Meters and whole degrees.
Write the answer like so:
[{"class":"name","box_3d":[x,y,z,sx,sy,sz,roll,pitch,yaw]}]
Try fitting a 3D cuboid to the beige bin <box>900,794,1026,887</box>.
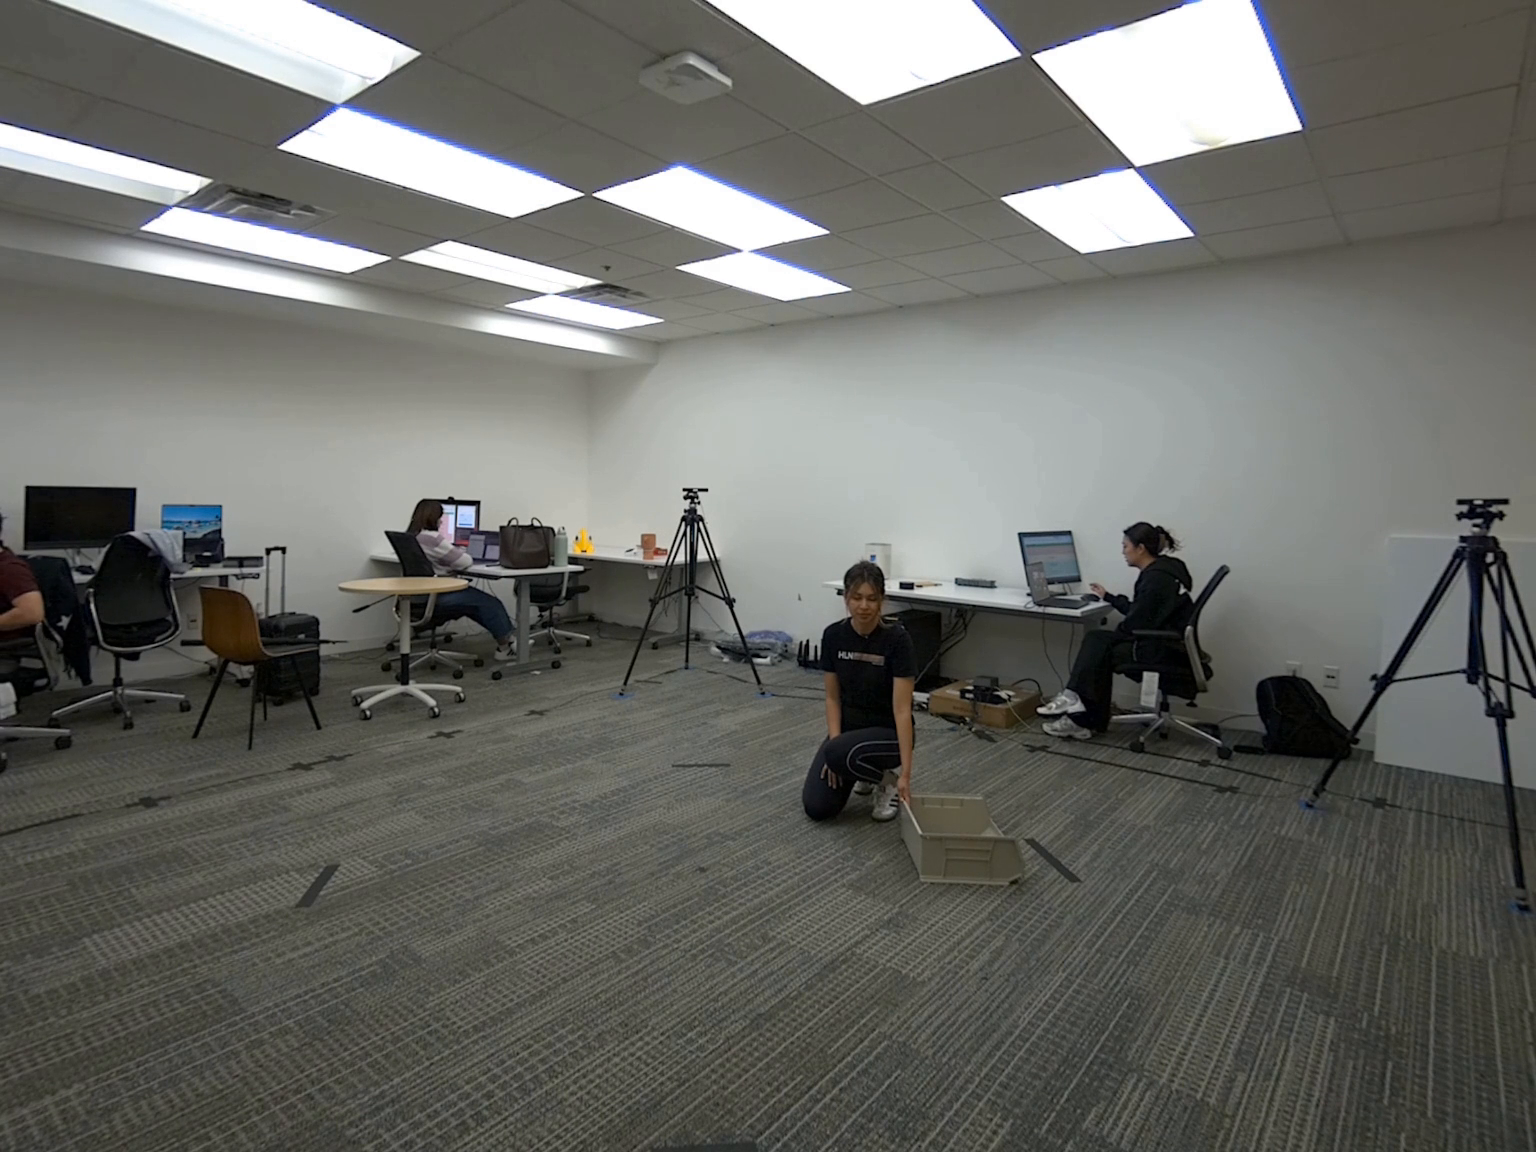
[{"class":"beige bin","box_3d":[0.726,0.992,3.246,0.377,0.188,0.424,0,5,-1]}]
